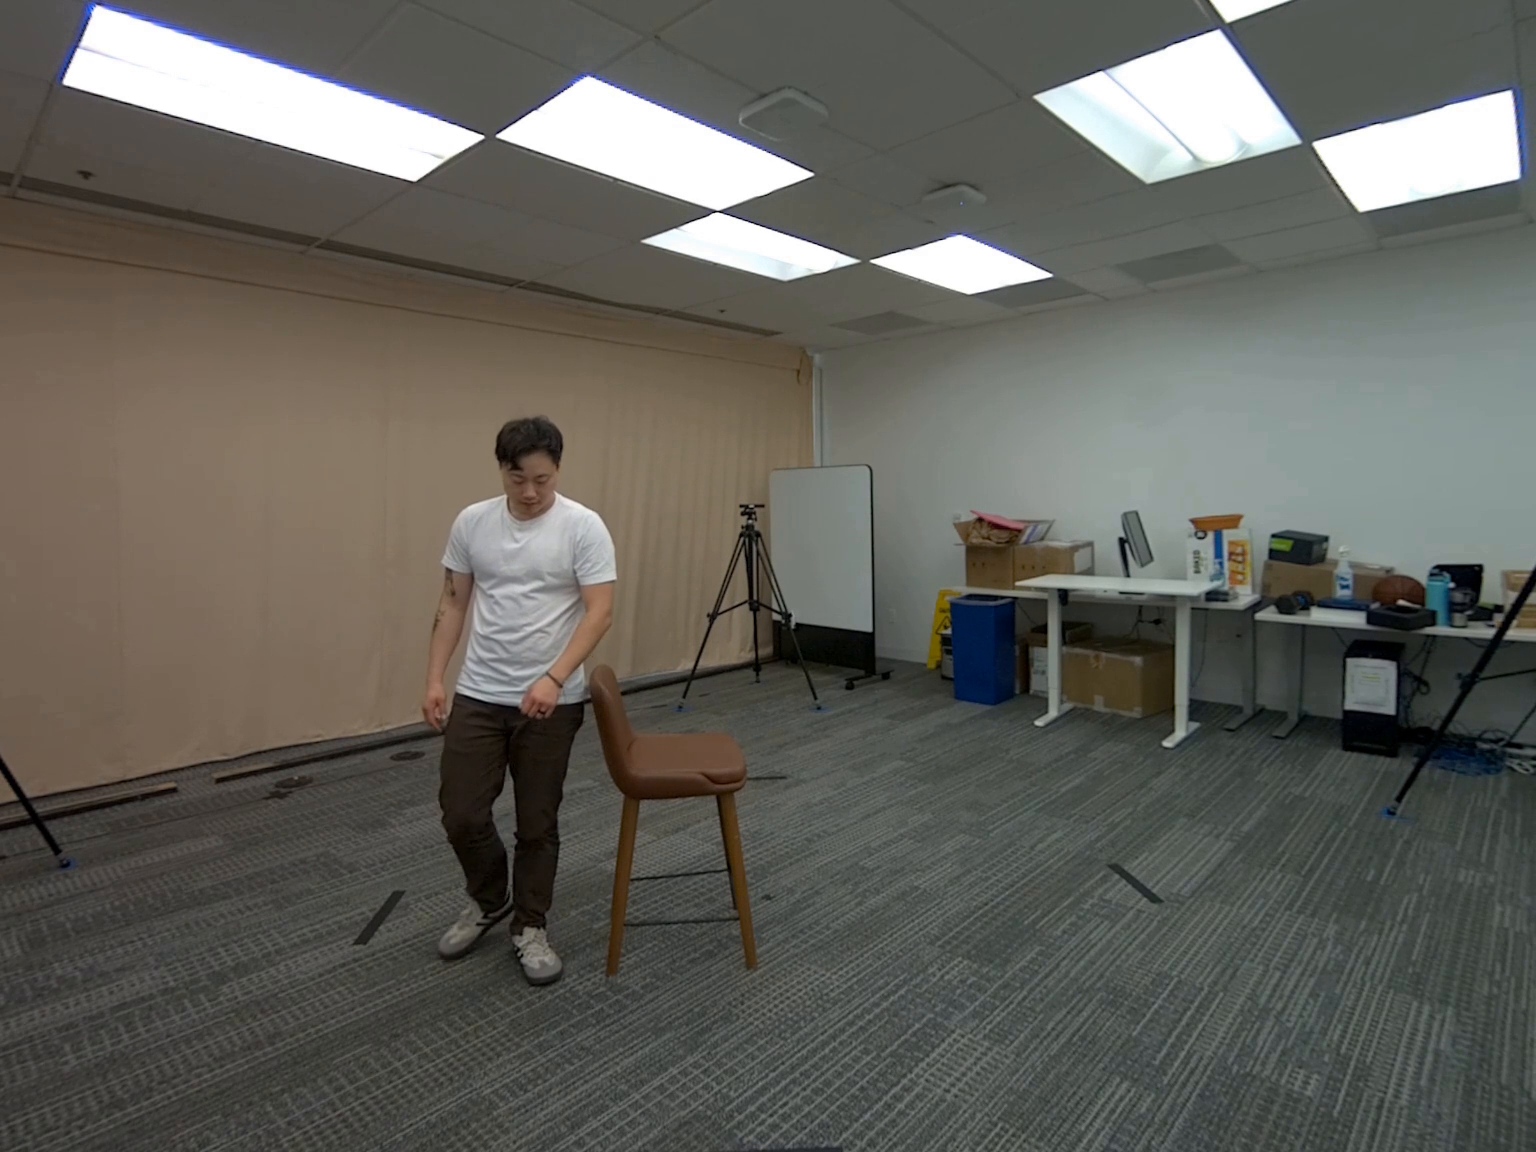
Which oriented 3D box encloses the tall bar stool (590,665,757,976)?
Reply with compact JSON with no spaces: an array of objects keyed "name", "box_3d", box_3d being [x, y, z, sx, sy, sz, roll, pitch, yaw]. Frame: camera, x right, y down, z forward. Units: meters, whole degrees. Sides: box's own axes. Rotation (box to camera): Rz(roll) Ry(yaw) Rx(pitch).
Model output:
[{"name":"tall bar stool","box_3d":[-0.303,0.733,2.685,0.464,0.888,0.460,-4,3,-7]}]
